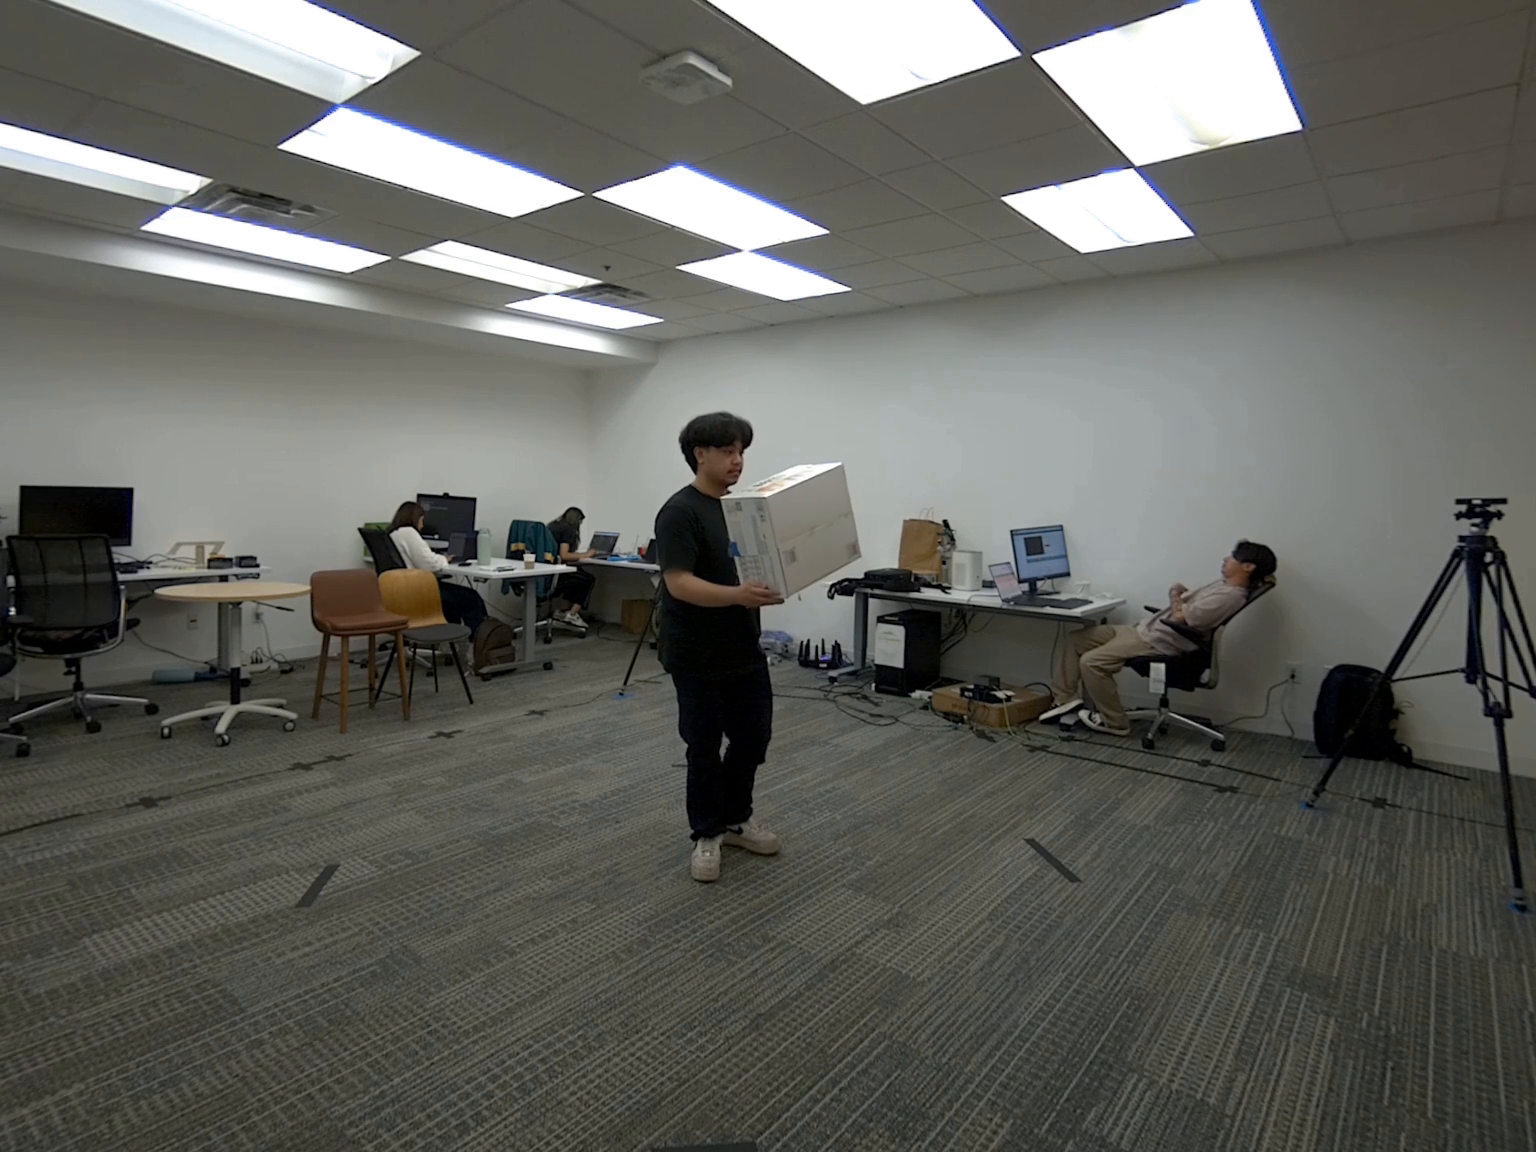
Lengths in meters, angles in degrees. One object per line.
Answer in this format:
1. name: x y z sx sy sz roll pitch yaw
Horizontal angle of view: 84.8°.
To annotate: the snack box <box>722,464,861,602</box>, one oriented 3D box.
1. snack box: 0.077 -0.155 2.830 0.212 0.335 0.398 1 20 45
